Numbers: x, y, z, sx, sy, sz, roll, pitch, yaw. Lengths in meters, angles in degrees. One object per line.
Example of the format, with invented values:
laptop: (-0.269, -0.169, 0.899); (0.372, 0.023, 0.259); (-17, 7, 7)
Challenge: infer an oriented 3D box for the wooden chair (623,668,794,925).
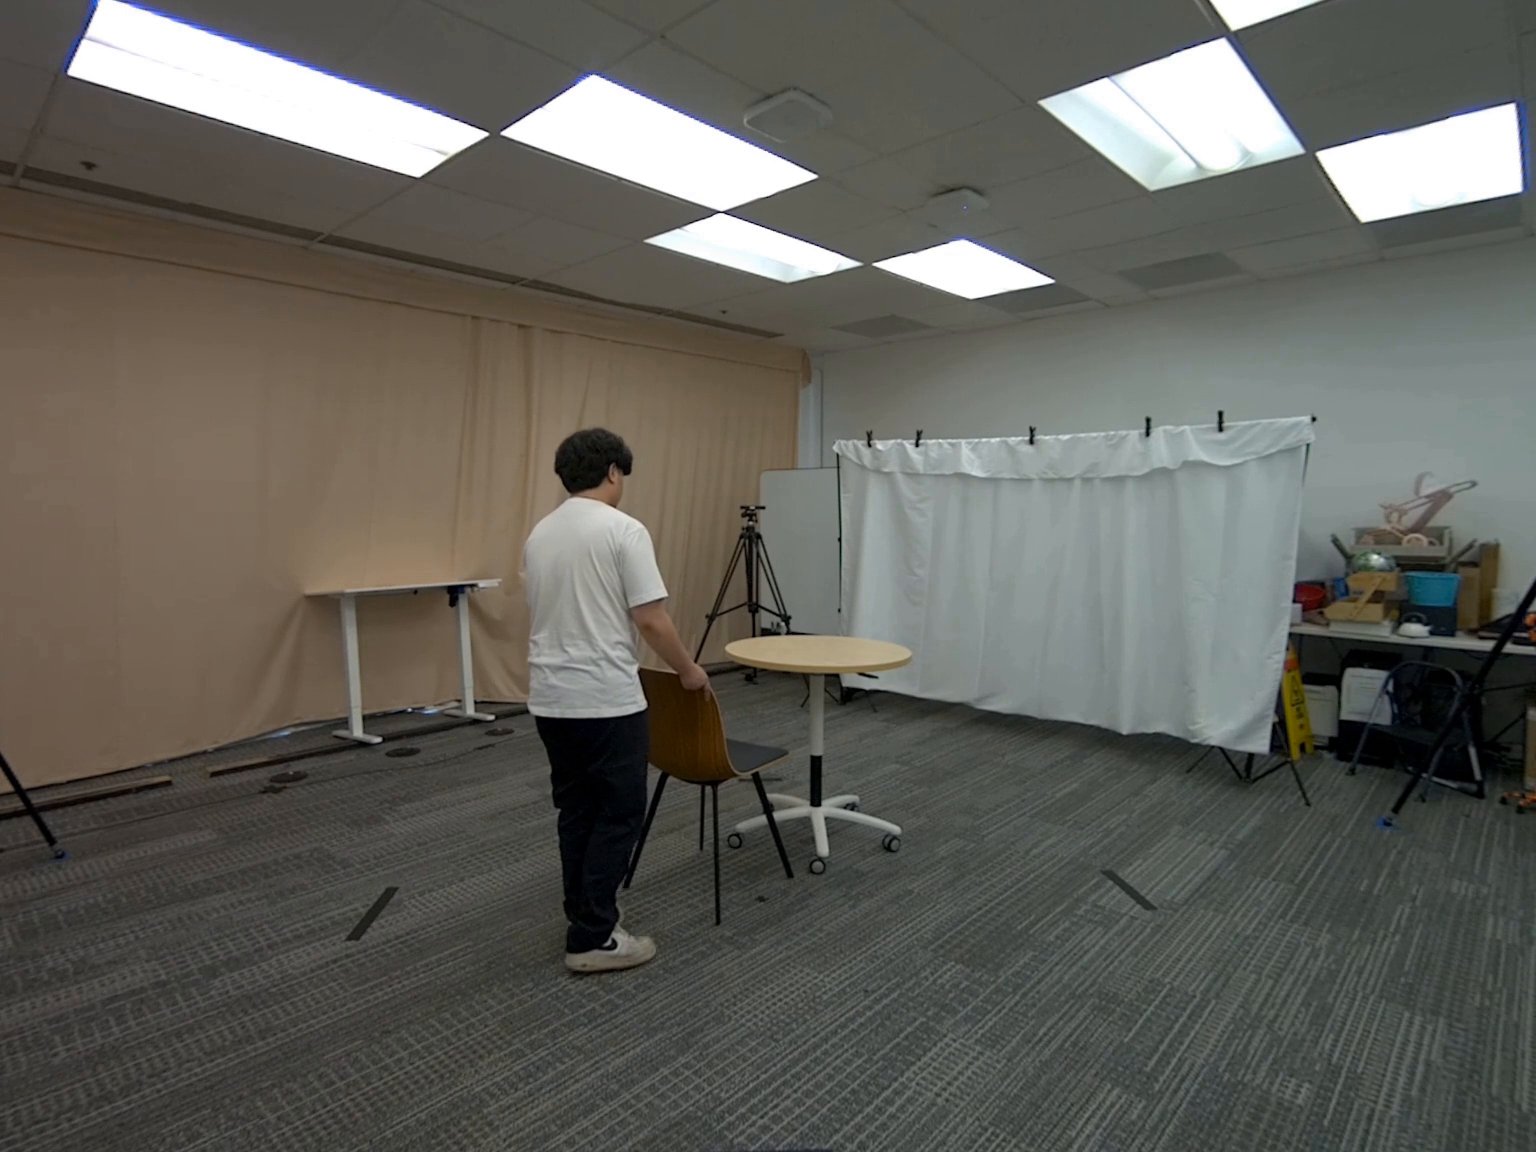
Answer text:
wooden chair: (-0.213, 0.709, 3.086); (0.493, 0.873, 0.509); (2, 8, 38)
